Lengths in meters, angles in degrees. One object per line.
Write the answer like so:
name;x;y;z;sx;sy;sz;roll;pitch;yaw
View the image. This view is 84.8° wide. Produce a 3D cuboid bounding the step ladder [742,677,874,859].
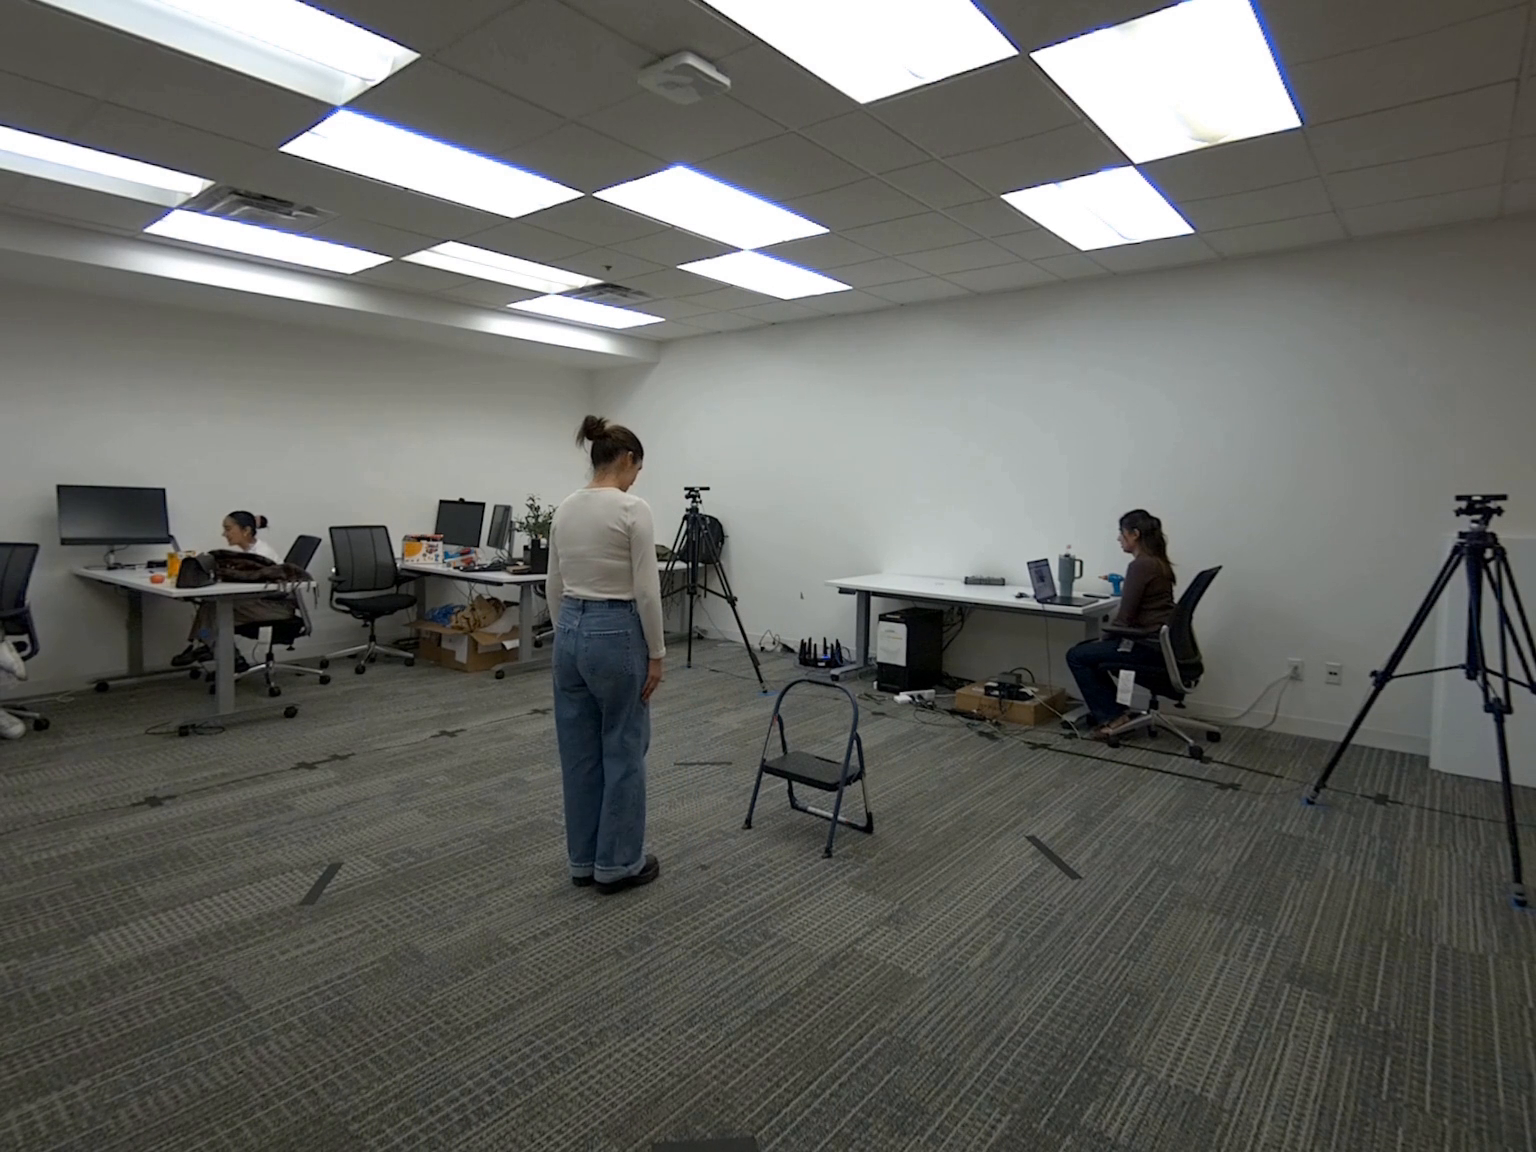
step ladder;0.164;0.734;3.460;0.445;0.604;0.339;4;5;39
